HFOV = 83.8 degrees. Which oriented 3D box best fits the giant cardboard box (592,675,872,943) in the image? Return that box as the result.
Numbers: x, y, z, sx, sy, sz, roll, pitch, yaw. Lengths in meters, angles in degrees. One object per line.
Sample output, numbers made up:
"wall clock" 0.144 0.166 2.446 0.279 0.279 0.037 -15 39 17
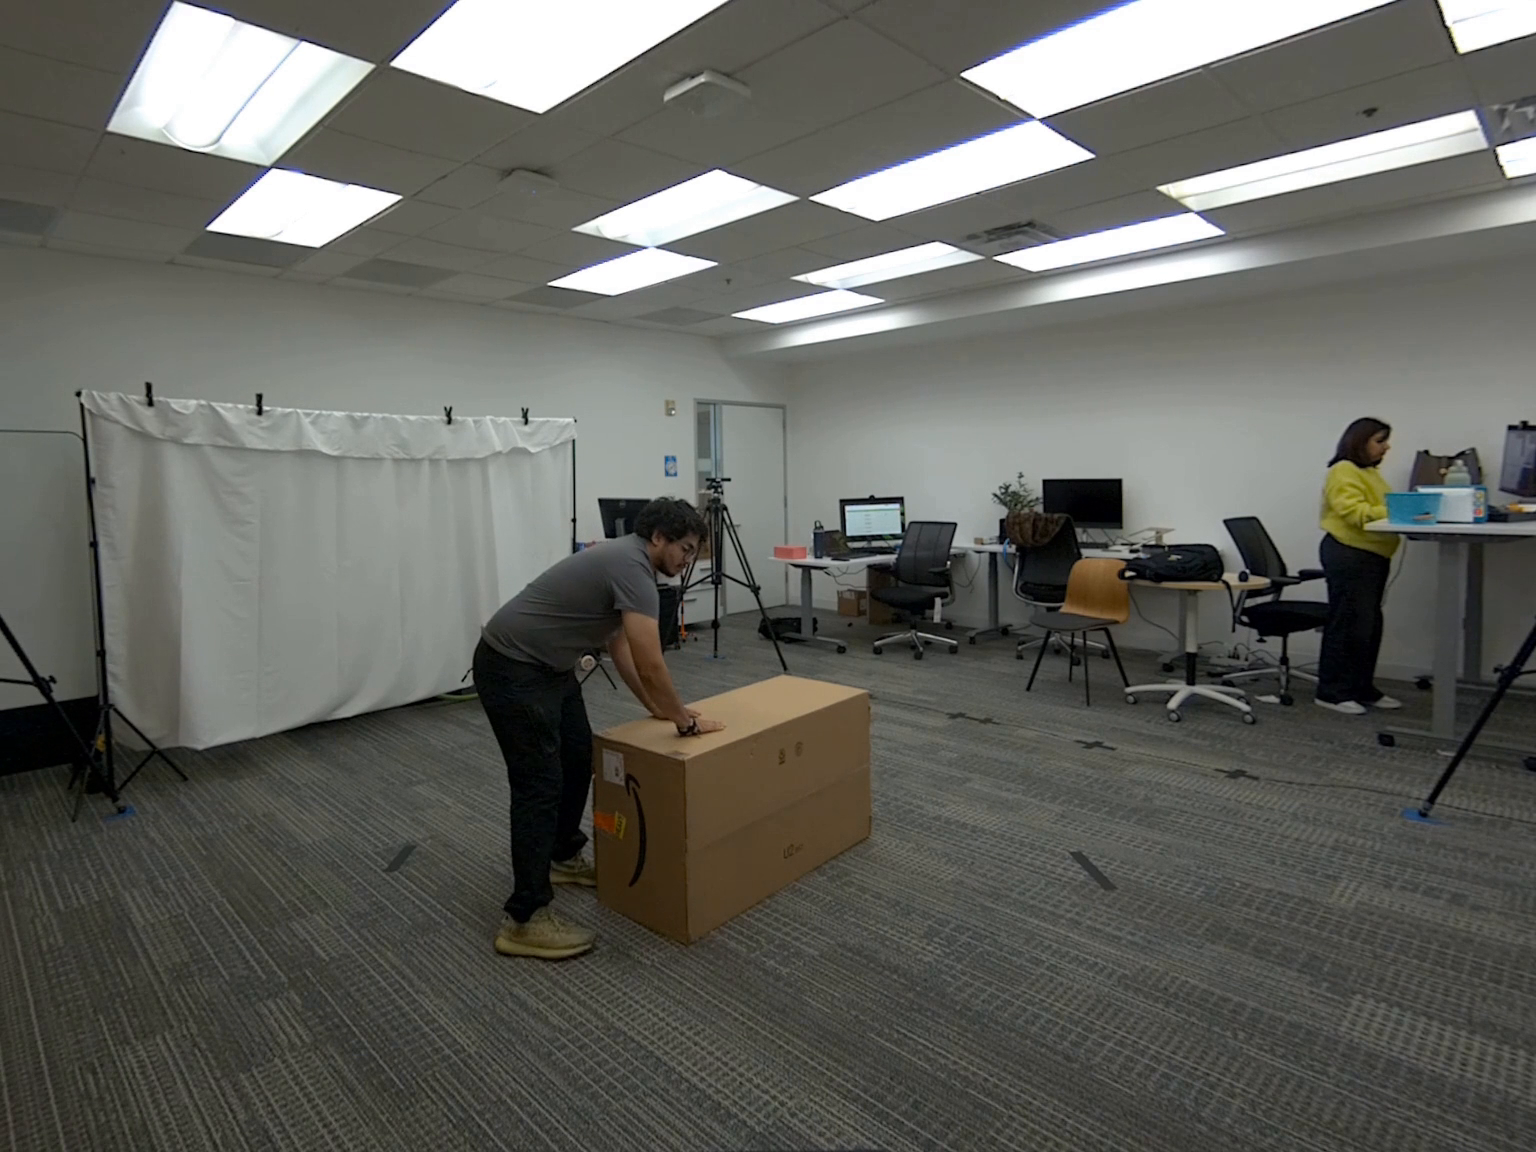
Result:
"giant cardboard box" -0.092 0.760 3.065 0.439 0.575 1.000 2 7 40
